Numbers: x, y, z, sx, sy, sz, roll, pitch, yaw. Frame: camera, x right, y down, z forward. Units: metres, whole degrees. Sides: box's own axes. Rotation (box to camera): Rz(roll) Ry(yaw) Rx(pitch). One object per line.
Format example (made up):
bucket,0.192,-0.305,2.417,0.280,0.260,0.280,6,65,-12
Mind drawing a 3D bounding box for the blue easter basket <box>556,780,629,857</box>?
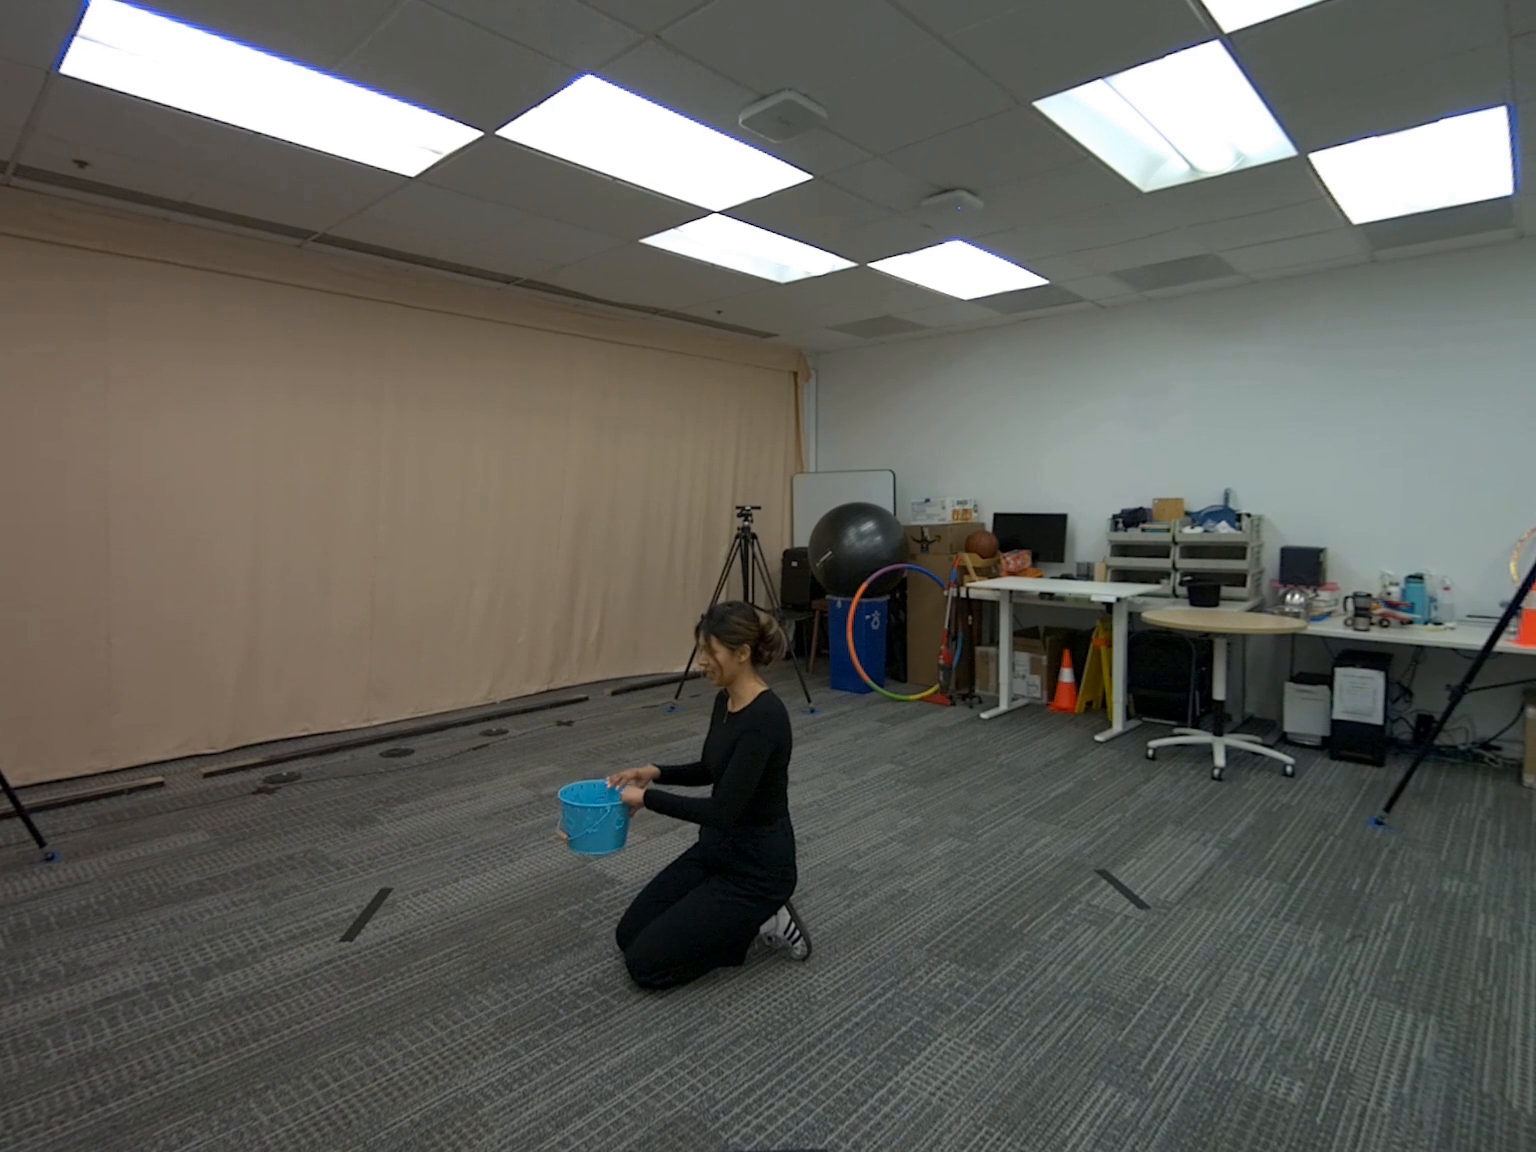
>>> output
blue easter basket,-0.515,0.730,2.513,0.243,0.156,0.244,1,2,-2
